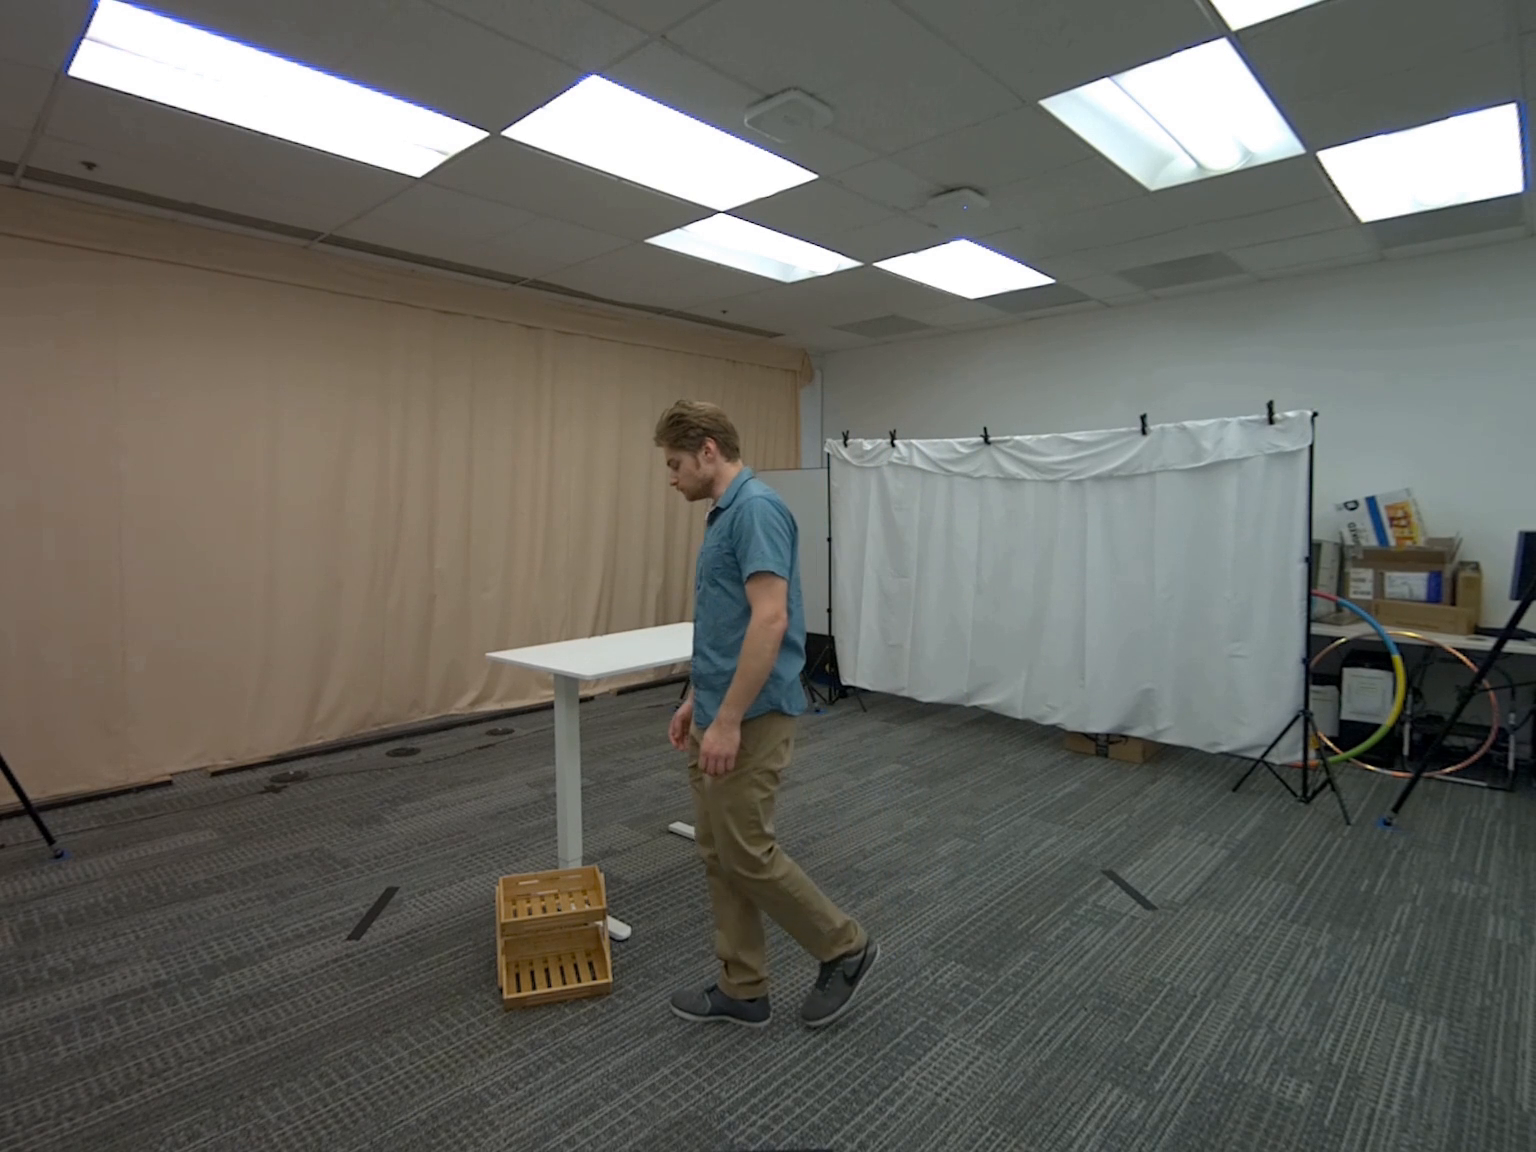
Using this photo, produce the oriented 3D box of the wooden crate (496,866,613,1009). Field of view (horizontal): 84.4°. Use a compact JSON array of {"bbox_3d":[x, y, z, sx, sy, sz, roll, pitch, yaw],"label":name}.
[{"bbox_3d":[-0.632,1.057,2.479,0.318,0.273,0.308,-2,3,-19],"label":"wooden crate"}]
